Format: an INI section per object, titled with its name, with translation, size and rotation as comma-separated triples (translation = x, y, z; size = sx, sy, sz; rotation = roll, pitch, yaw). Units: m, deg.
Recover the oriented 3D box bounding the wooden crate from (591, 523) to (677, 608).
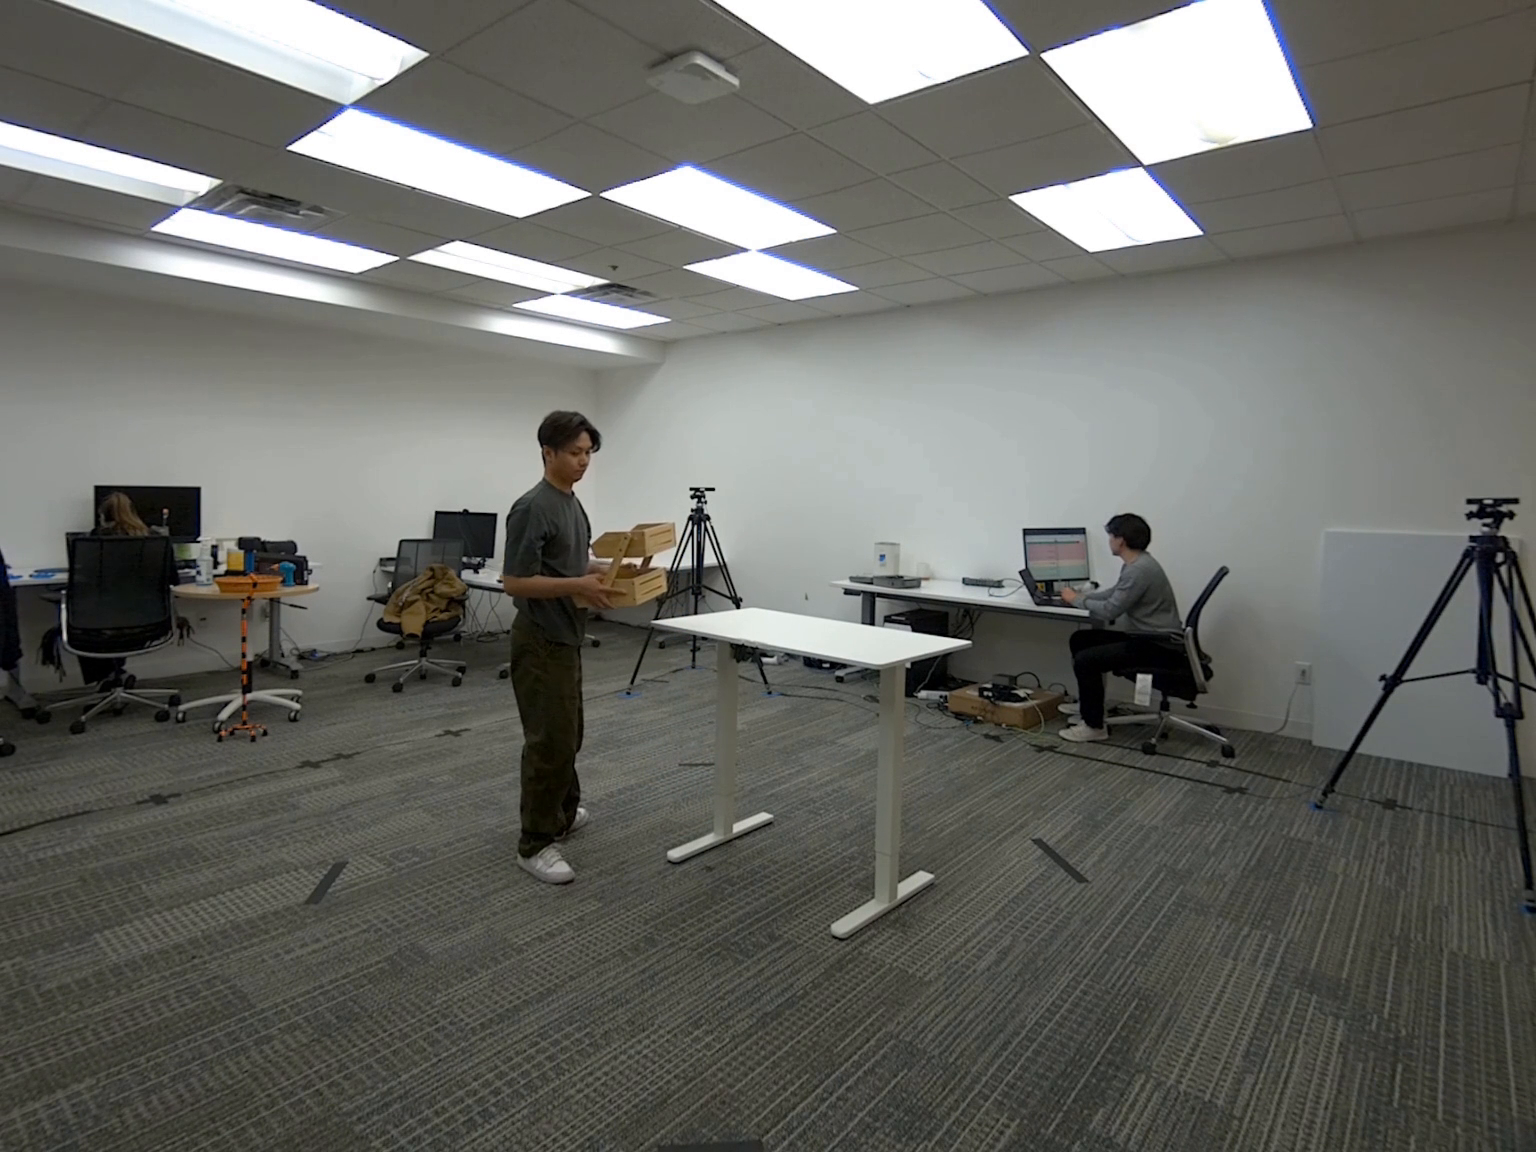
[wooden crate]
translation = -0.537, -0.049, 3.099
size = 0.307, 0.271, 0.321
rotation = -2, 8, 17
